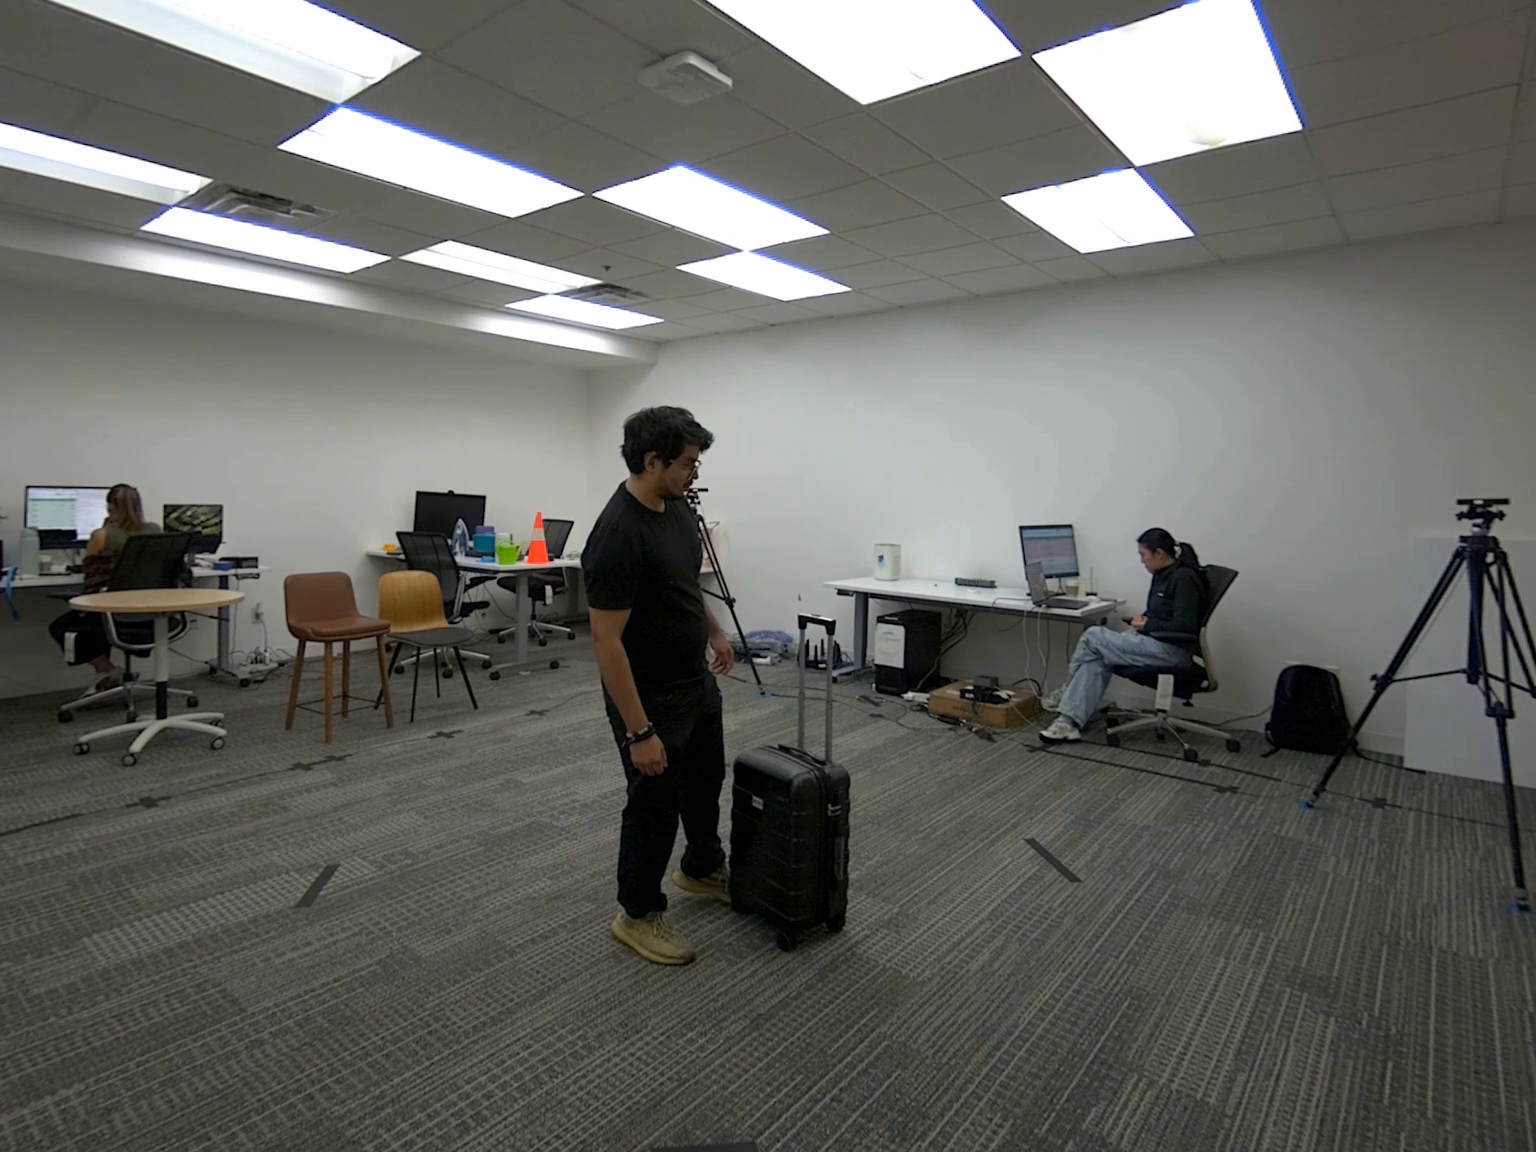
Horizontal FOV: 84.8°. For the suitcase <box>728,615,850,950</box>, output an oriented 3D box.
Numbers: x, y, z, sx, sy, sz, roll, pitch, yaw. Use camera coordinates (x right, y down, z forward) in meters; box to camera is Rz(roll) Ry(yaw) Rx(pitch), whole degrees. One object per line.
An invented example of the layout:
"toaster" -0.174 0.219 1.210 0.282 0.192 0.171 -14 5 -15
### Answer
"suitcase" 0.070 0.634 2.719 0.249 0.975 0.397 -2 5 -38
